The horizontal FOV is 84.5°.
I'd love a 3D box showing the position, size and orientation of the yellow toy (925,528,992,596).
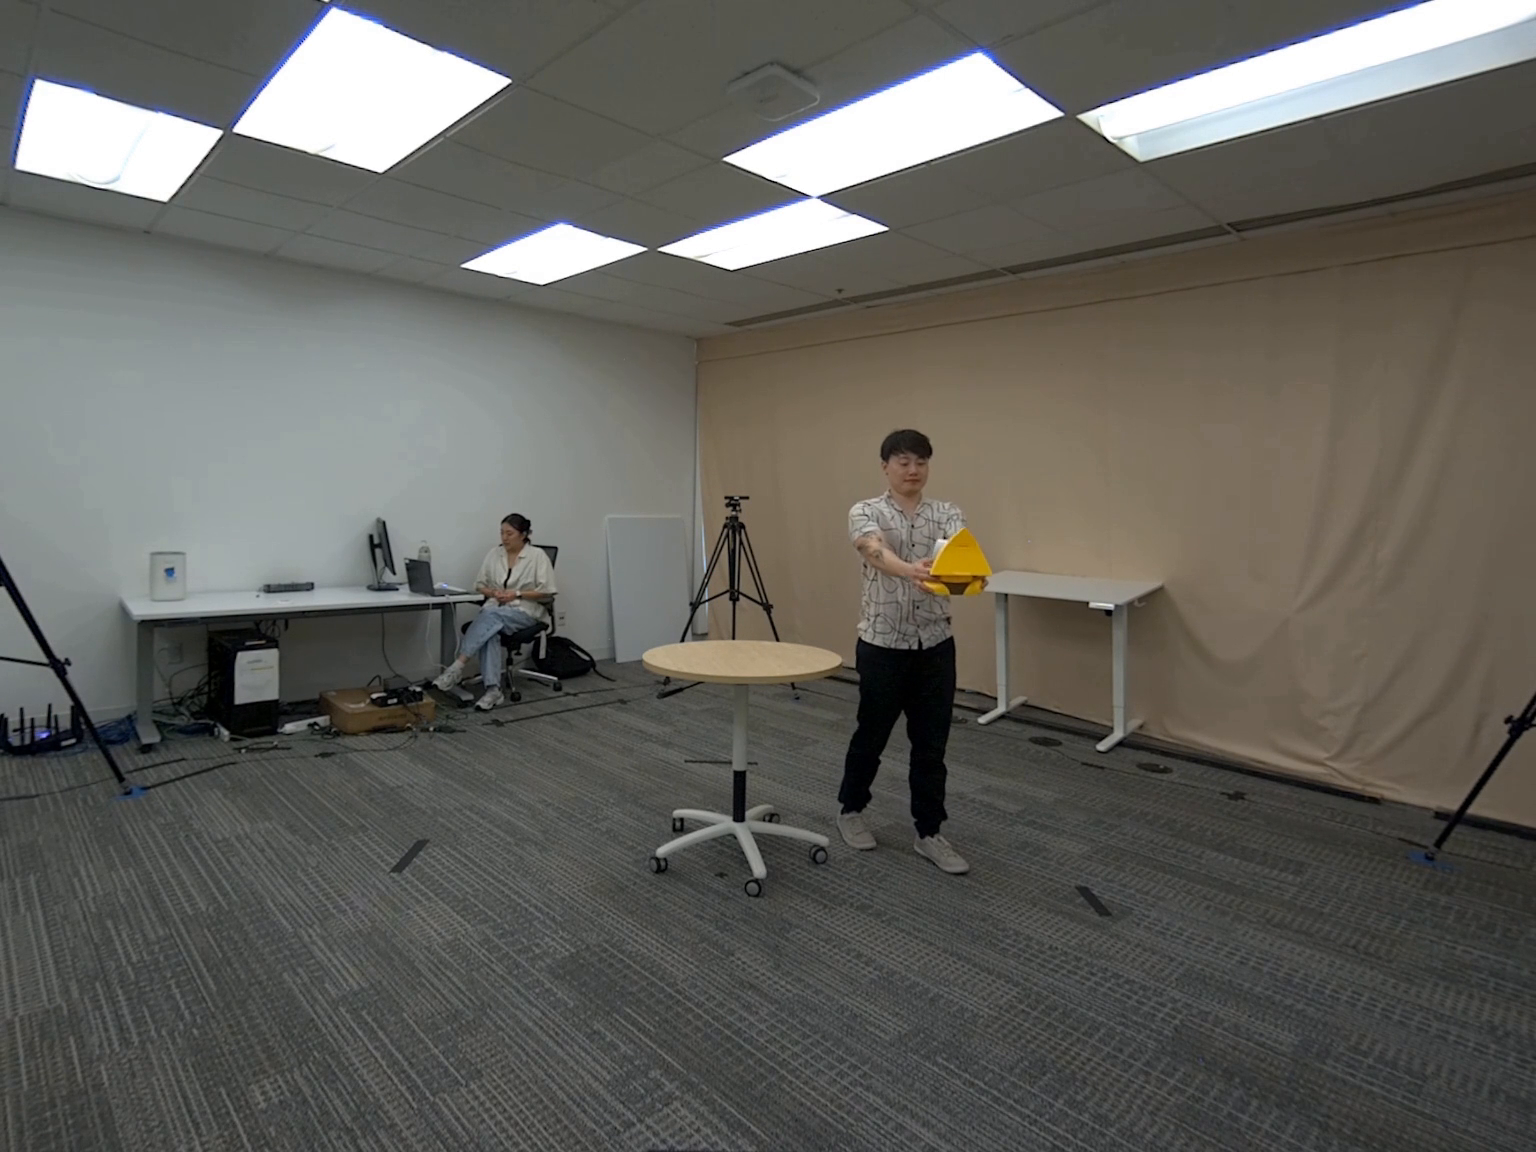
[{"bbox_3d":[0.603,-0.074,2.767,0.204,0.227,0.196,0,20,-5],"label":"yellow toy"}]
